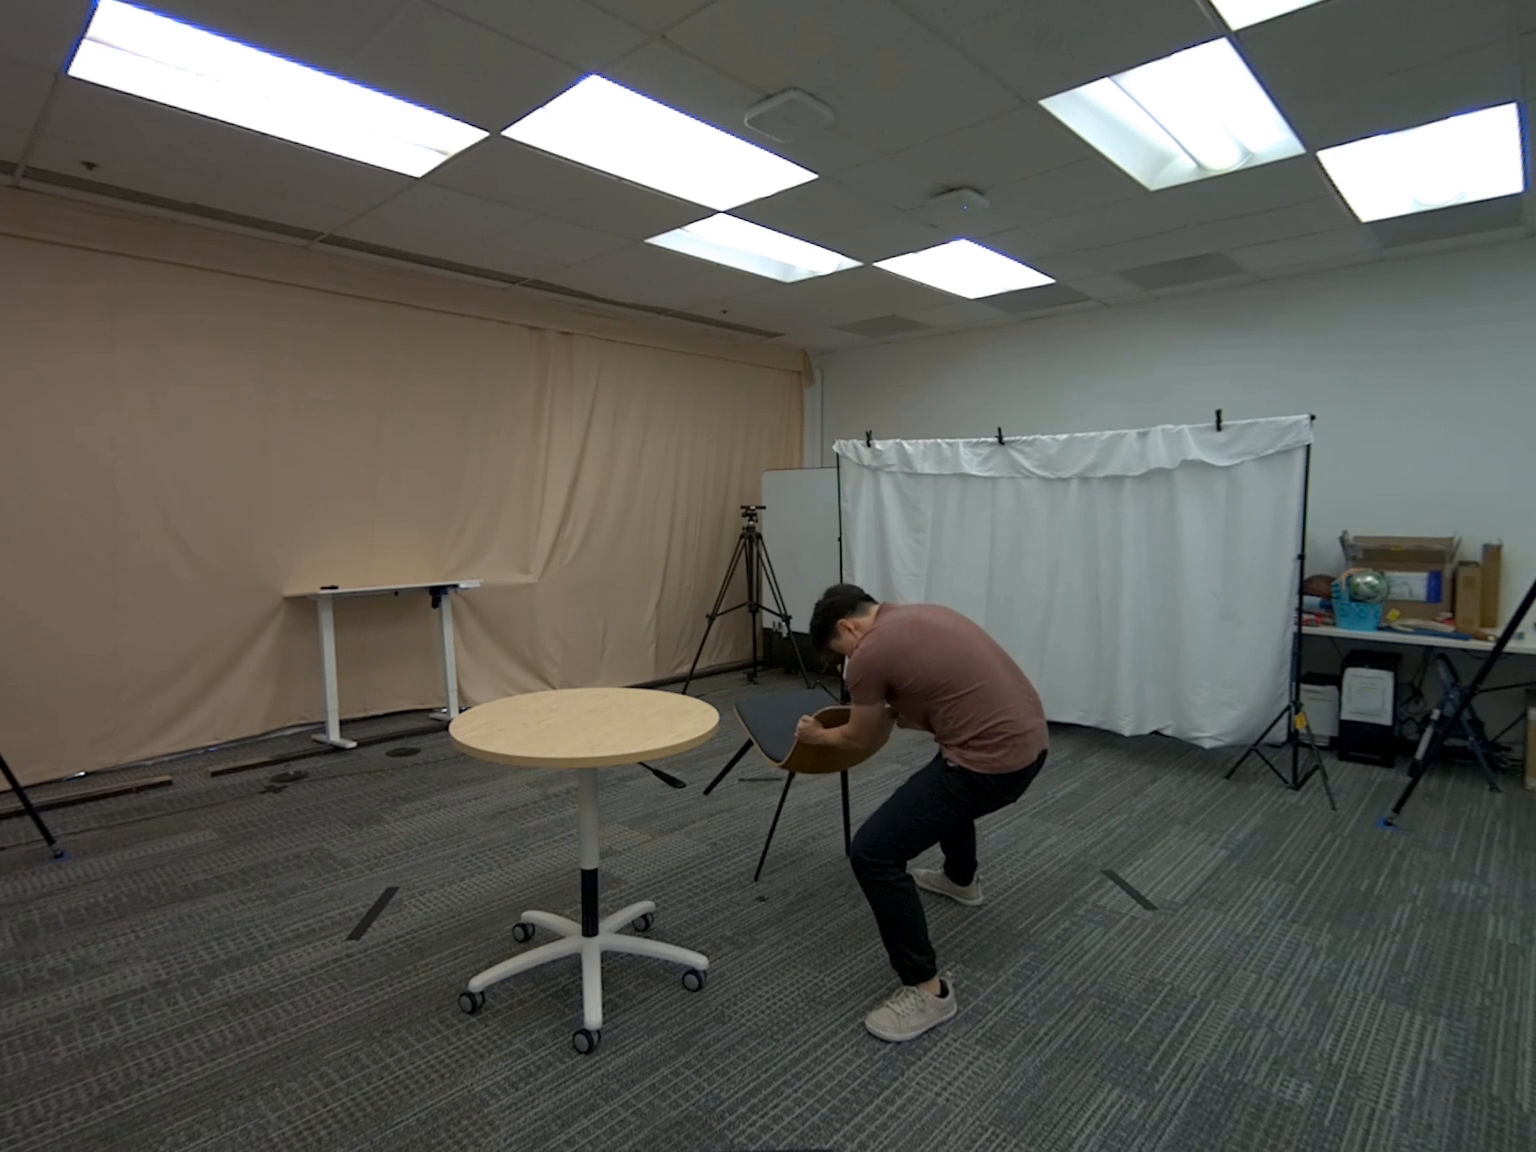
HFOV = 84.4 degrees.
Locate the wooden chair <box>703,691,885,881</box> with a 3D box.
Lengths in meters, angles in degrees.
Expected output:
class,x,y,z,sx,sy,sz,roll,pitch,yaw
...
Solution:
class,x,y,z,sx,sy,sz,roll,pitch,yaw
wooden chair,0.136,0.636,3.206,0.465,0.871,0.541,-2,36,-32
